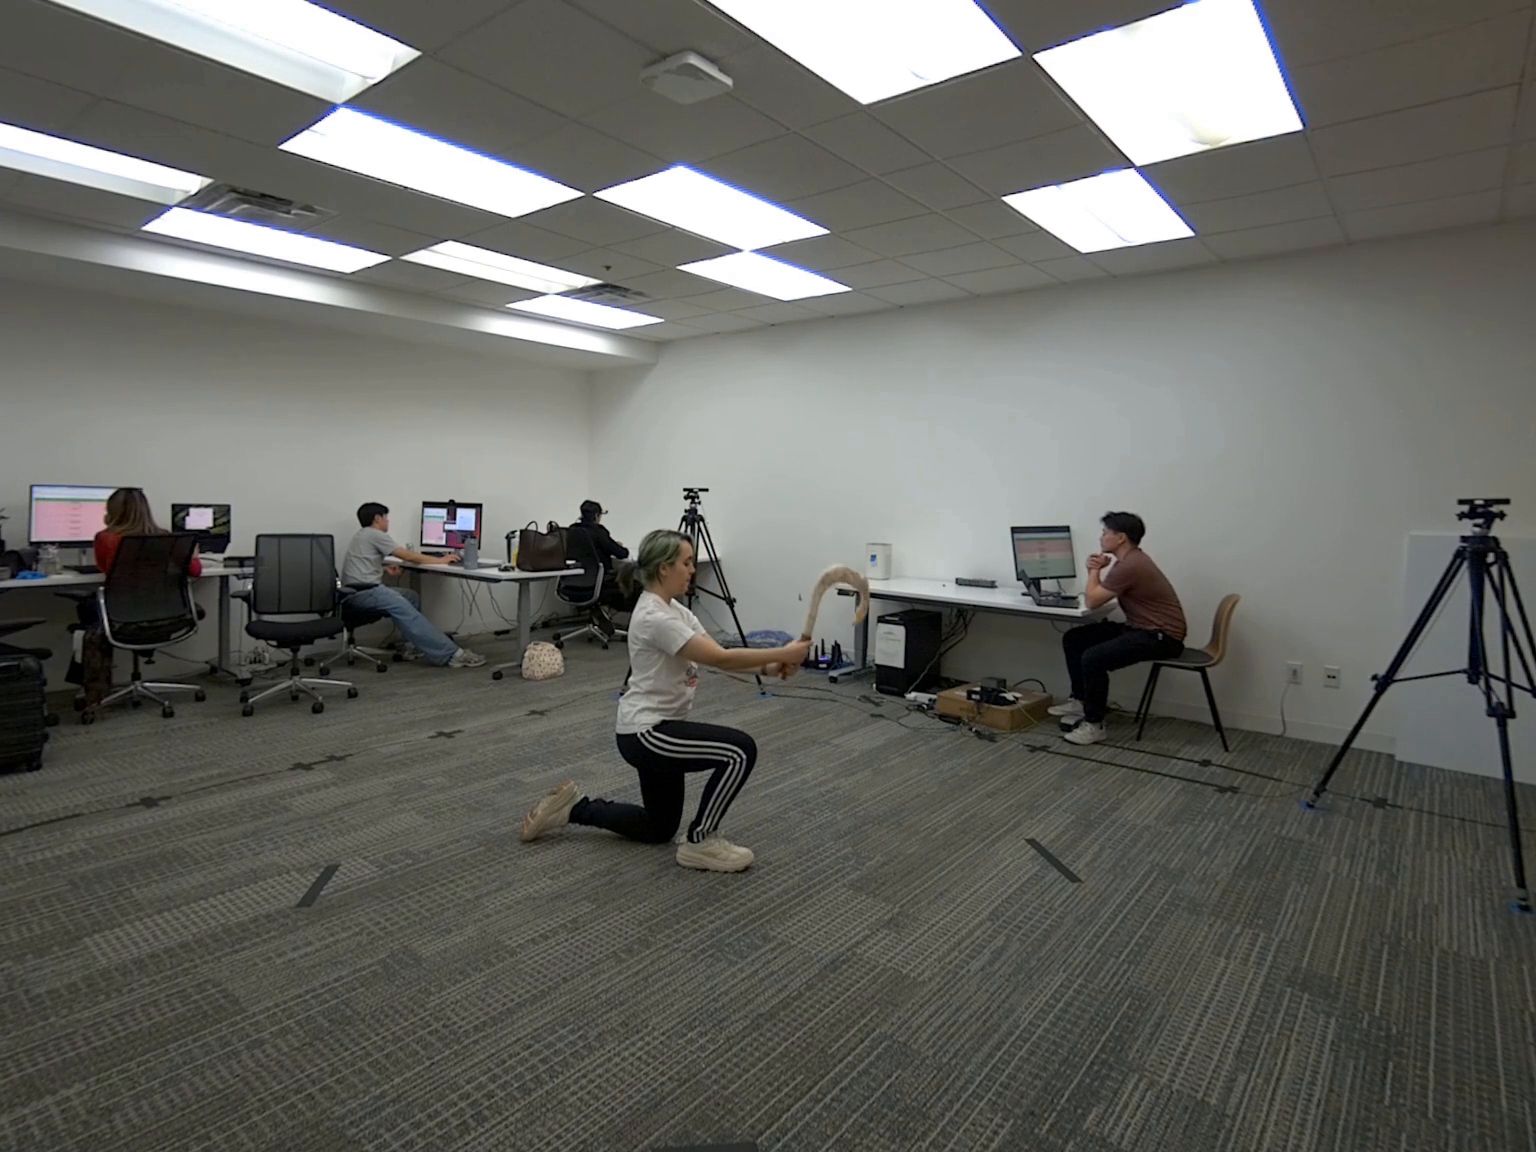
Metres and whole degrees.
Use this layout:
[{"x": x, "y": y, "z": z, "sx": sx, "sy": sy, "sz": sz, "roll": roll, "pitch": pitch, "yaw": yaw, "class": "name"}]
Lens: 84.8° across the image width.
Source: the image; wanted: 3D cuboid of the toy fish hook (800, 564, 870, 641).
[{"x": 0.189, "y": 0.206, "z": 3.263, "sx": 0.229, "sy": 0.505, "sz": 0.047, "roll": 28, "pitch": 6, "yaw": 13, "class": "toy fish hook"}]
